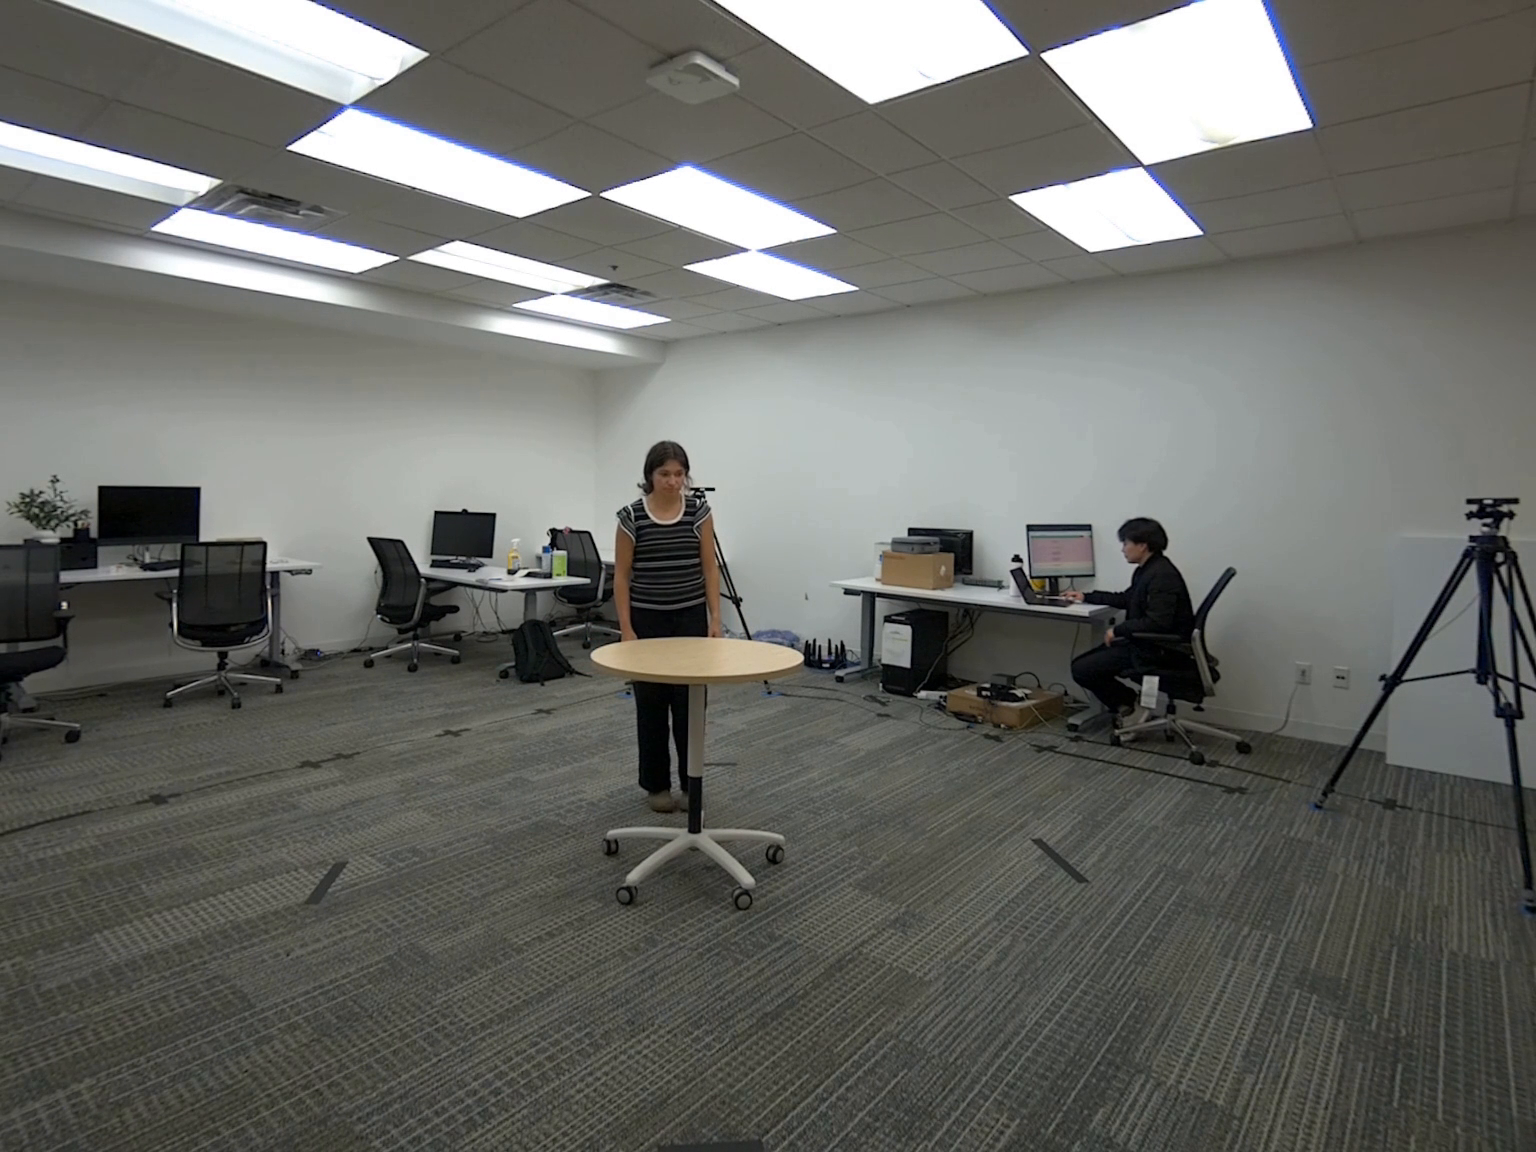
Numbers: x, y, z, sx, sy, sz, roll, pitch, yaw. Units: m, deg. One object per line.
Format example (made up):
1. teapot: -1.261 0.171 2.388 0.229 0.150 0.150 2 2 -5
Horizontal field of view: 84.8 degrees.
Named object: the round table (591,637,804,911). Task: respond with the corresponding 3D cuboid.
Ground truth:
1. round table: -0.272 0.669 3.092 0.784 0.784 0.789 1 4 -2
